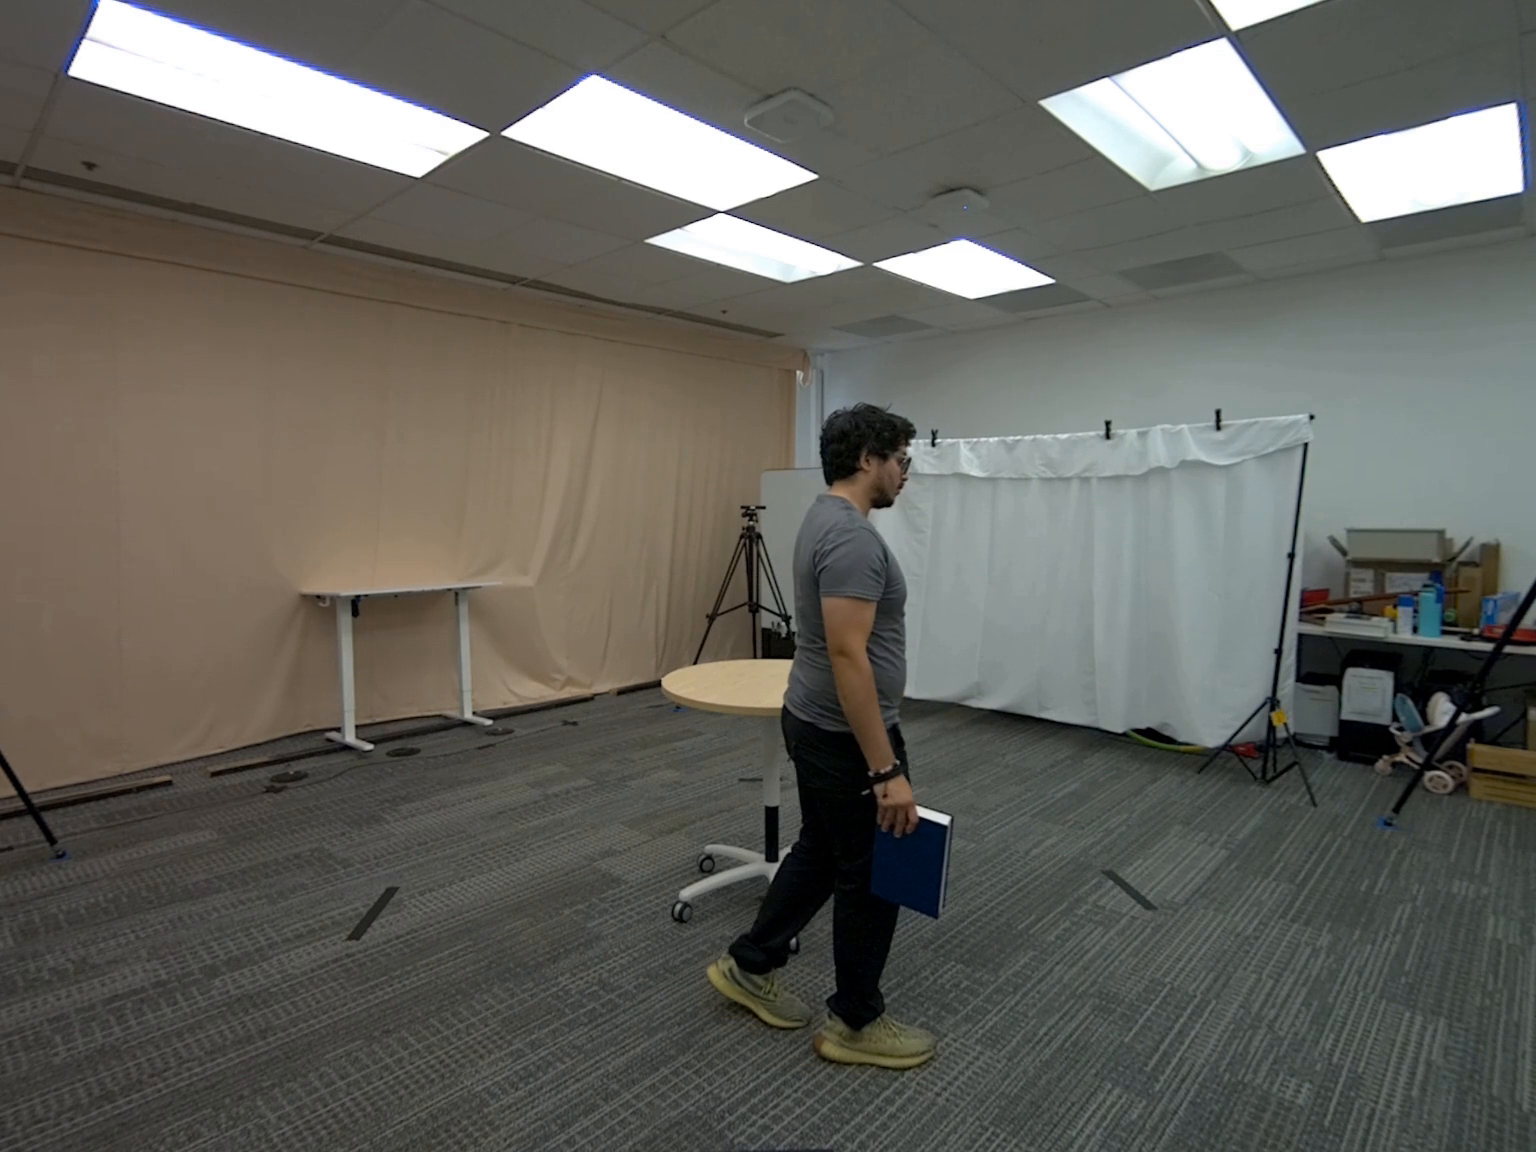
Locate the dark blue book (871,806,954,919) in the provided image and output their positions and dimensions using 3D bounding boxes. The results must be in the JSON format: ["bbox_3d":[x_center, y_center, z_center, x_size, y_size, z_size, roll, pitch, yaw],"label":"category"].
[{"bbox_3d":[0.313,0.623,1.878,0.168,0.242,0.044,11,20,29],"label":"dark blue book"}]
